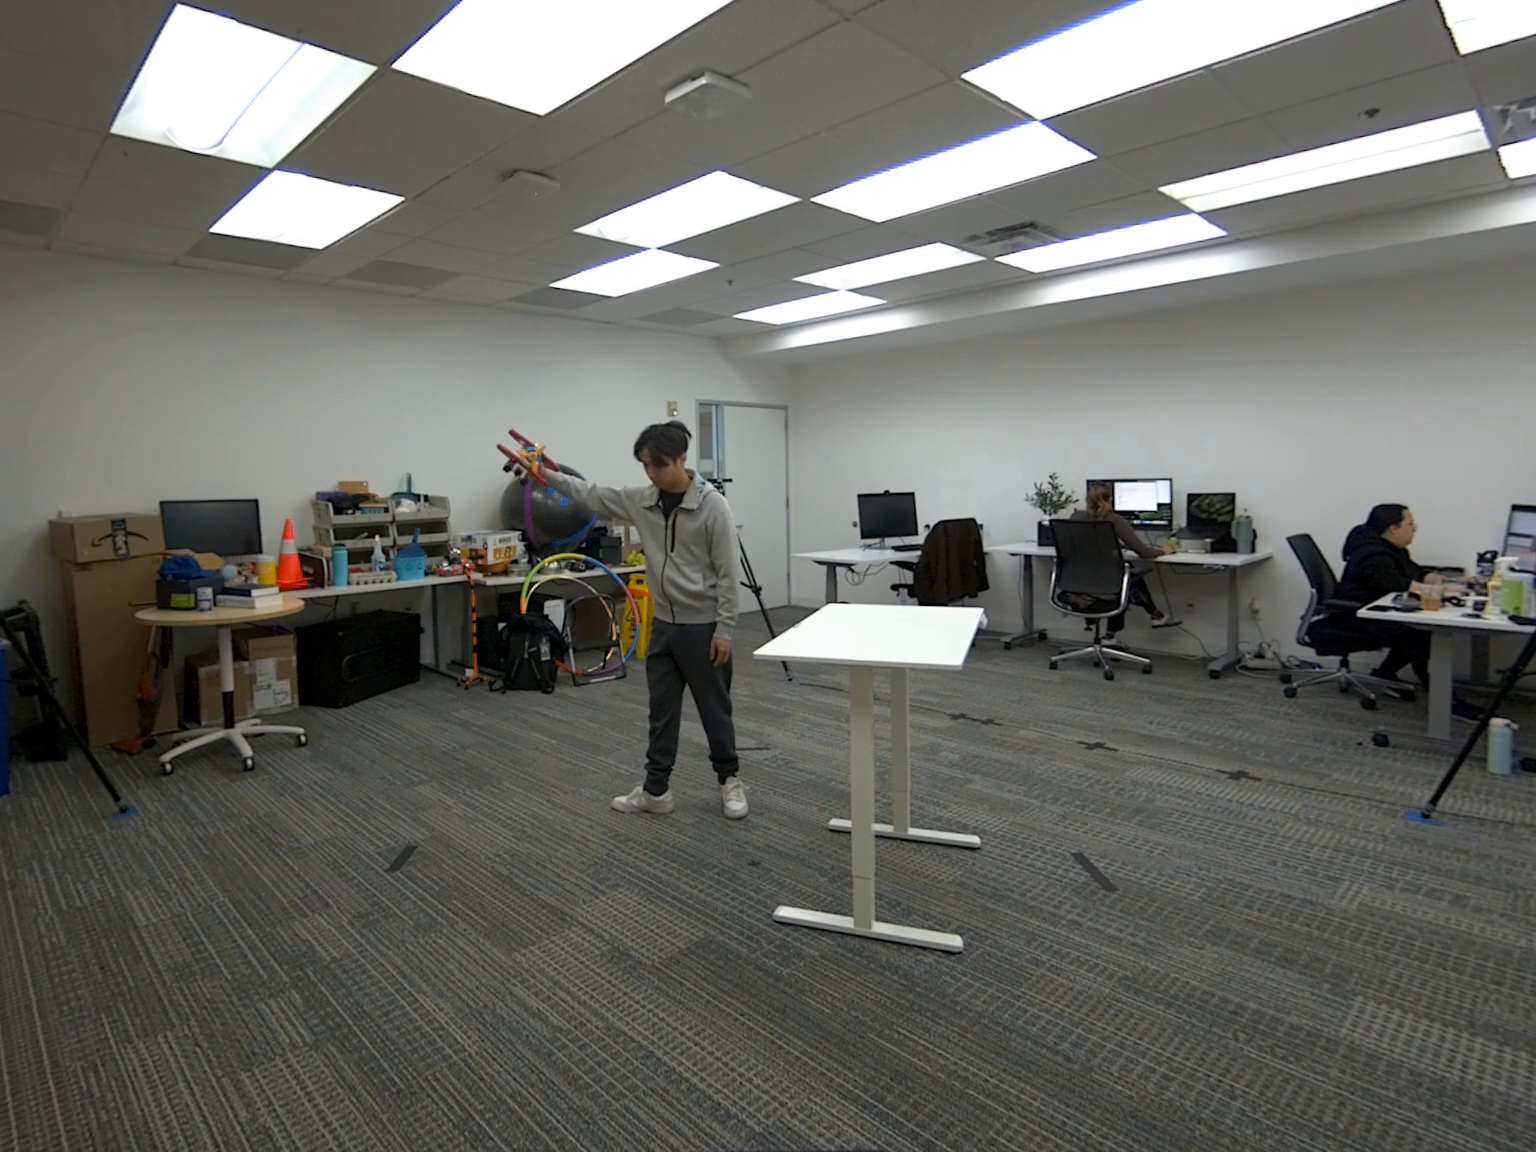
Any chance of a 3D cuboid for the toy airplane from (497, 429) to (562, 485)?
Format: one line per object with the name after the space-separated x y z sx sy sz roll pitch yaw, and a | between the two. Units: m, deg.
-1.006 -0.468 3.492 0.270 0.156 0.241 39 -2 43 | toy airplane
